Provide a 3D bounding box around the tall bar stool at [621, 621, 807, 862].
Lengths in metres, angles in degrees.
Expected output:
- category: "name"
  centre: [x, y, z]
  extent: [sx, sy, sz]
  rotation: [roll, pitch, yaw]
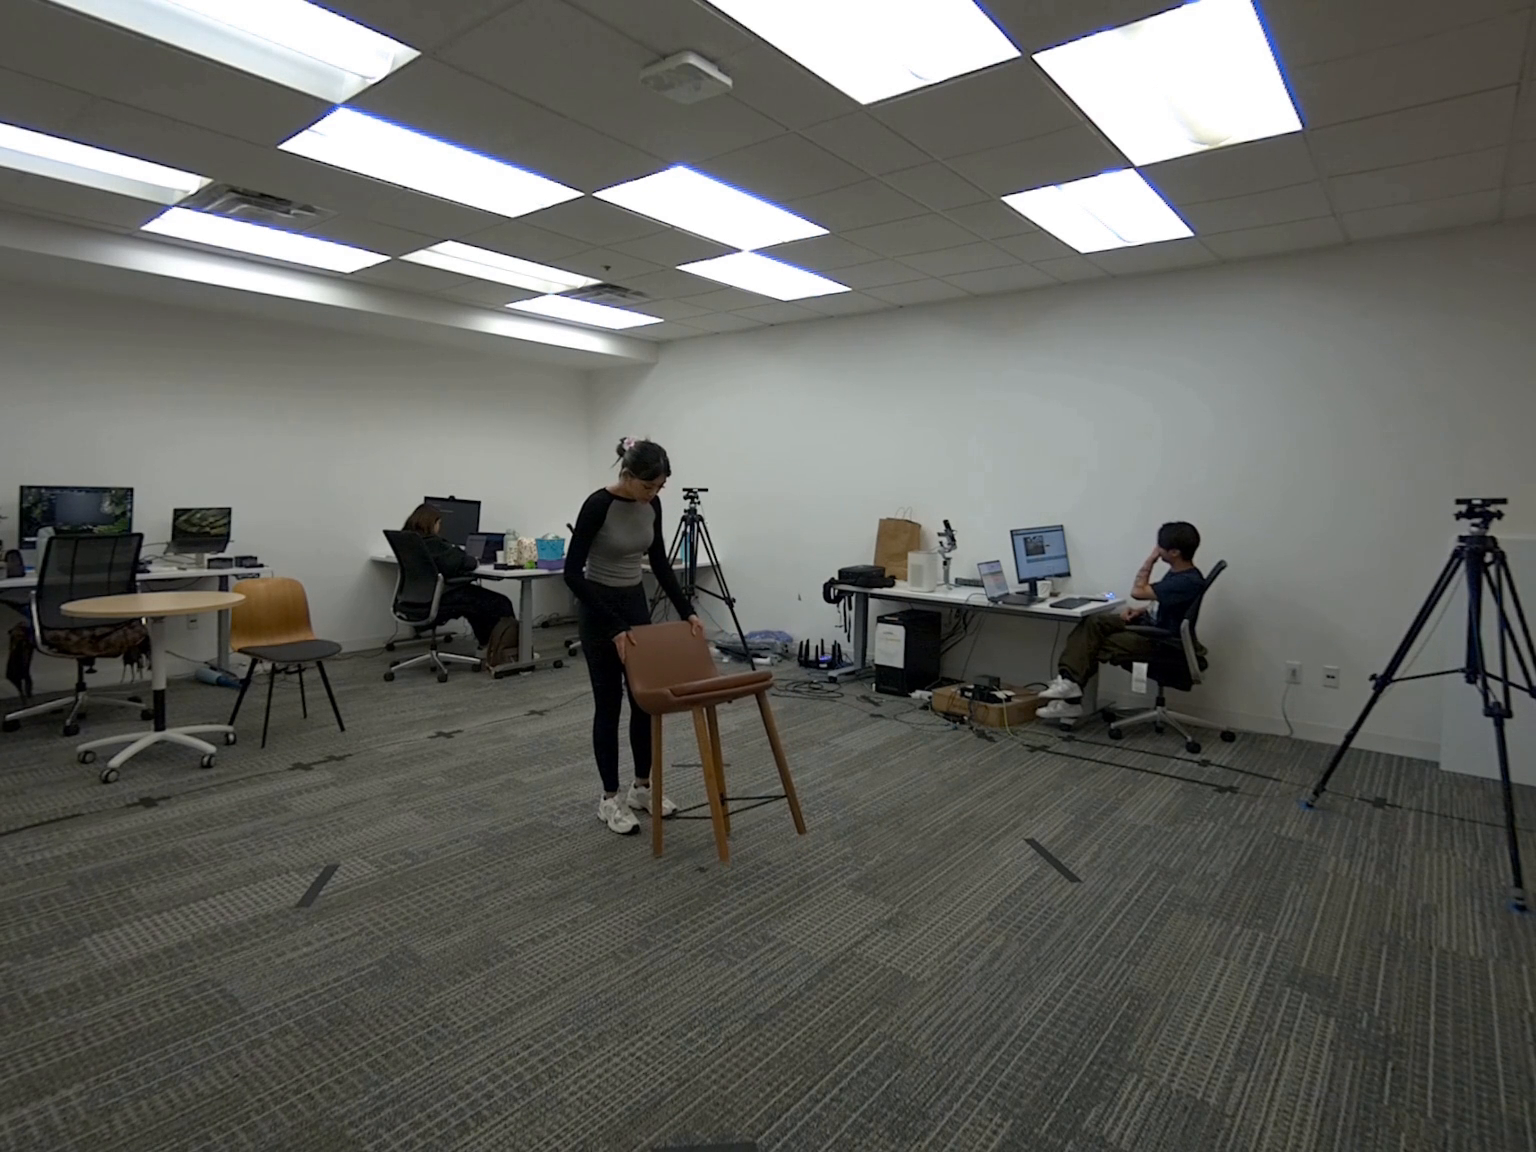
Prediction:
- category: "tall bar stool"
  centre: [-0.246, 0.578, 3.253]
  extent: [0.443, 0.902, 0.476]
  rotation: [-2, -15, -42]
